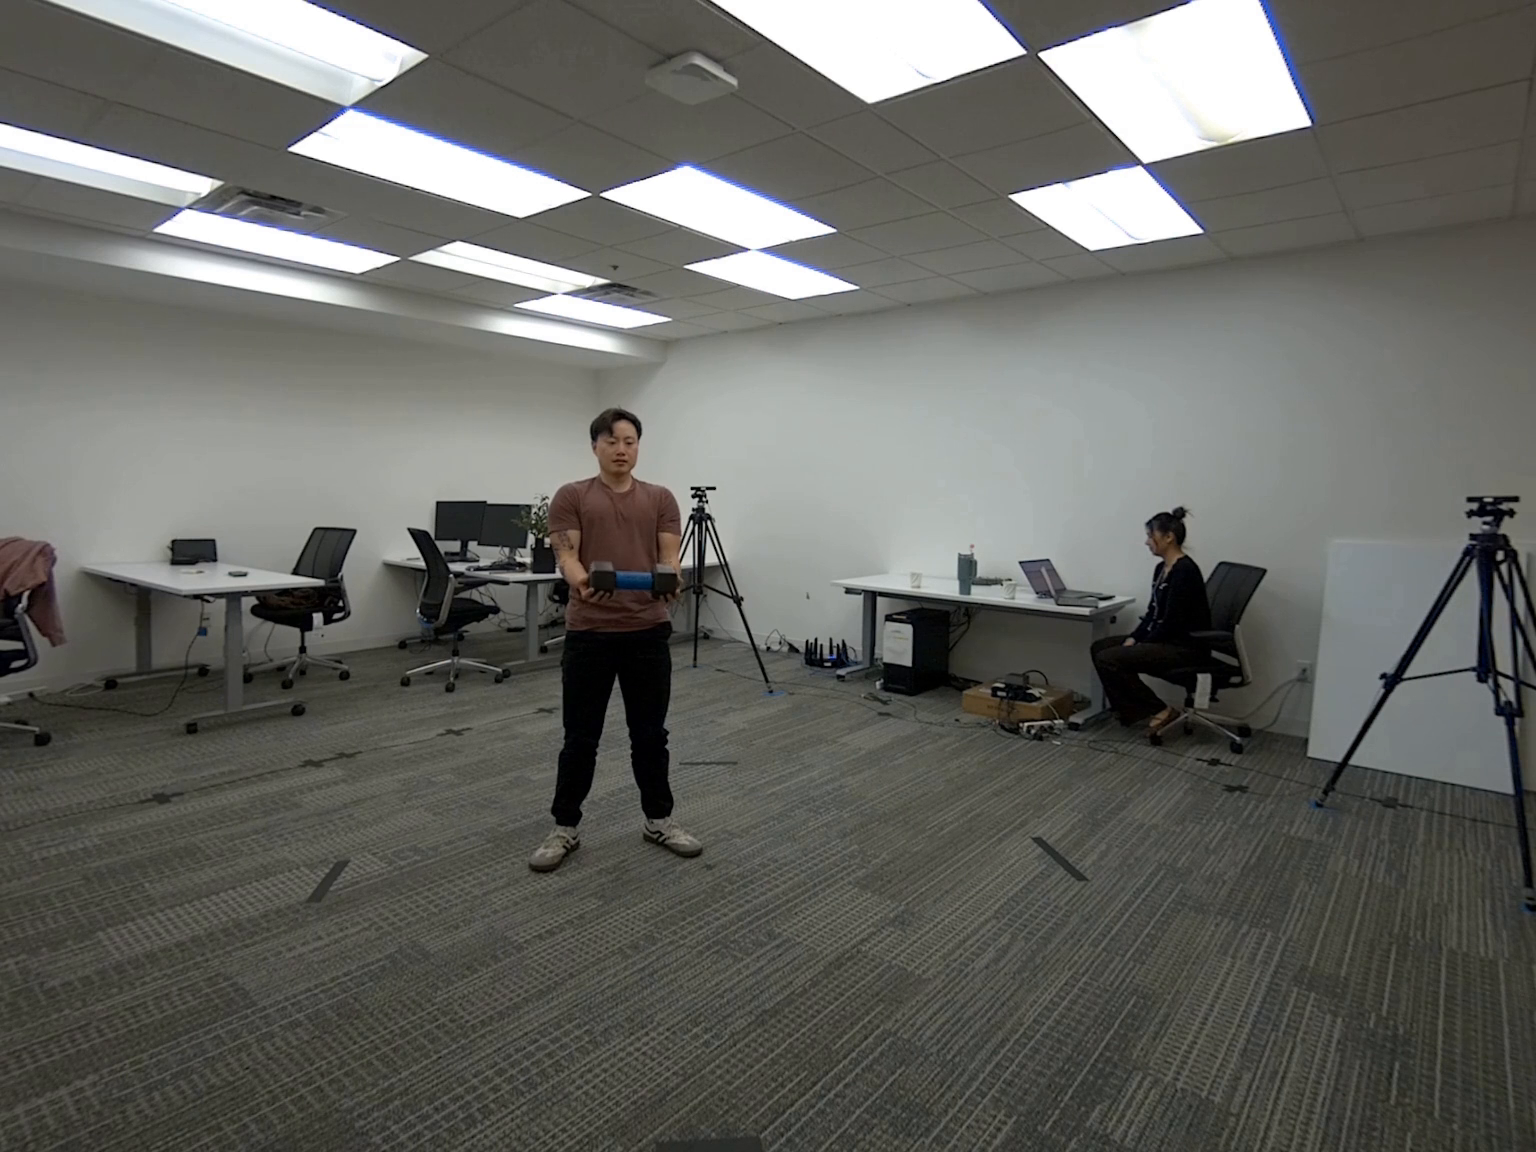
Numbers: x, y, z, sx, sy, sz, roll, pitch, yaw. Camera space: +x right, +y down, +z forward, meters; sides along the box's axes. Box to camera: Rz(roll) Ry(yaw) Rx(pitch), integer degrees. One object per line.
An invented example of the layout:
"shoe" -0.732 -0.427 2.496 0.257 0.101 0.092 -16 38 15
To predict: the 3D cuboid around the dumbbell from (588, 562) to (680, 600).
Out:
"dumbbell" -0.474 0.015 2.877 0.289 0.107 0.127 2 28 -15
